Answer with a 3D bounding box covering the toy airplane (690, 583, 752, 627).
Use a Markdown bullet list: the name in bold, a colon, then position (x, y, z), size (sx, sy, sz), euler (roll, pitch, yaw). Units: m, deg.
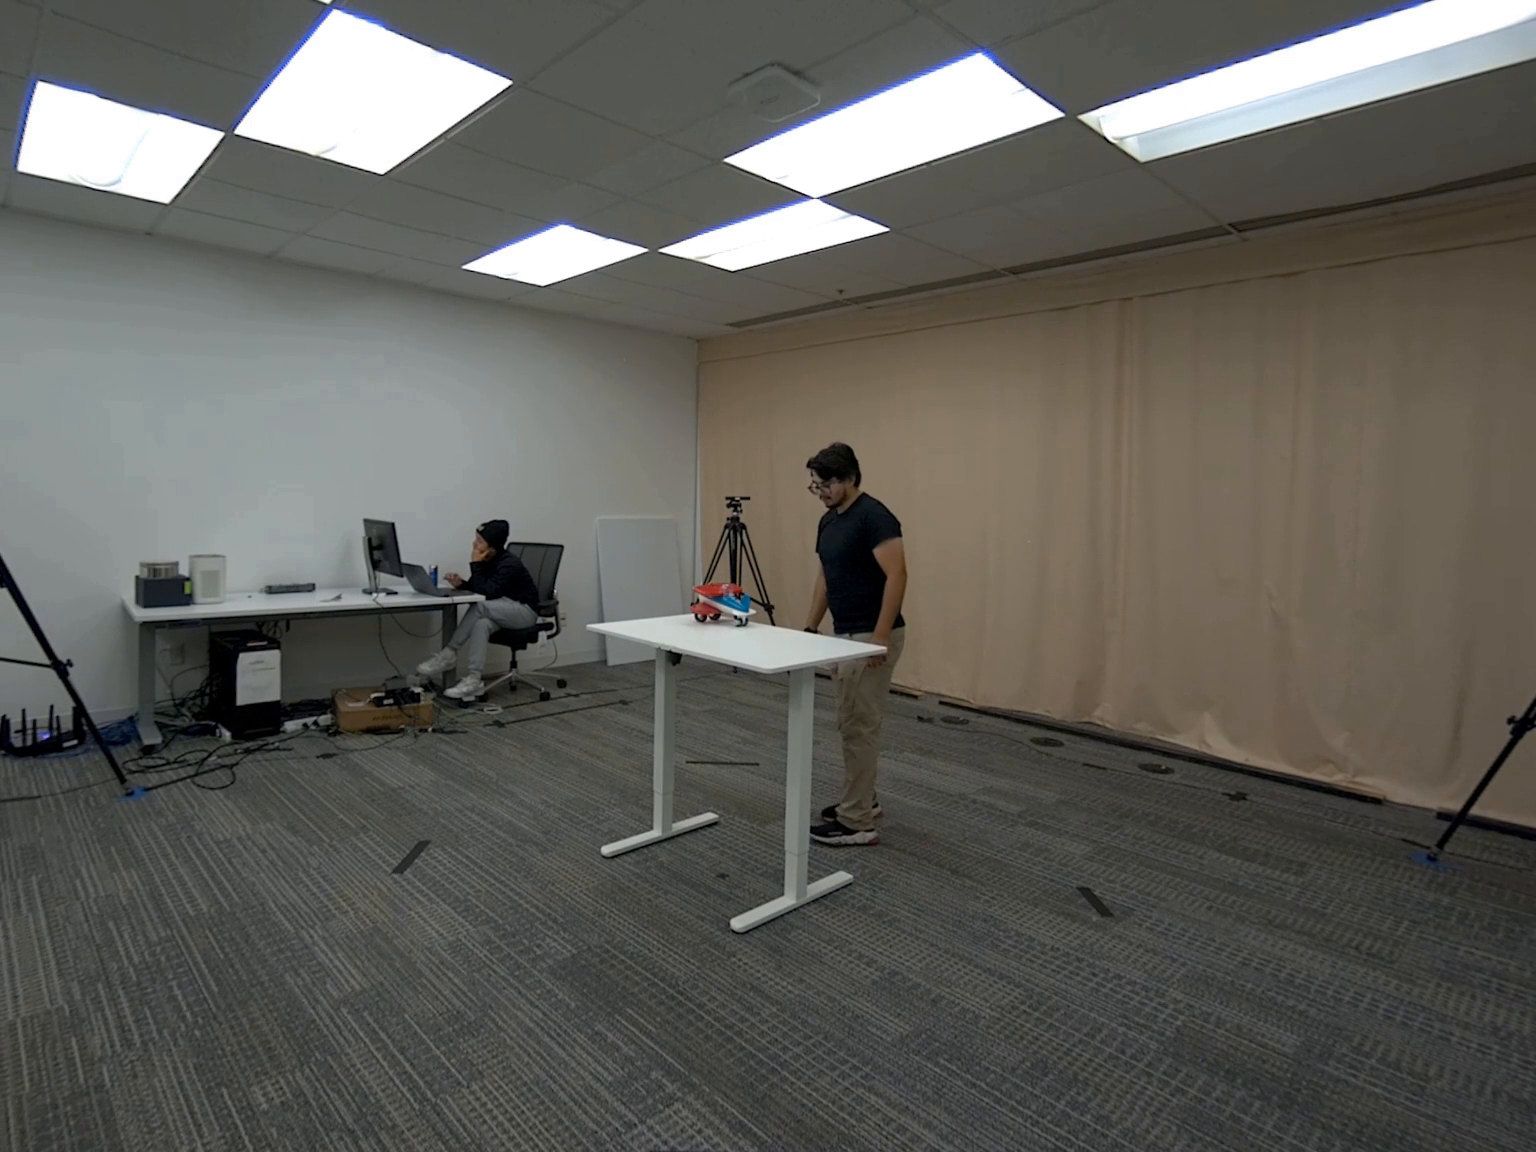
- **toy airplane**: position (-0.176, 0.114, 3.411), size (0.262, 0.156, 0.250), euler (1, 6, 11)
